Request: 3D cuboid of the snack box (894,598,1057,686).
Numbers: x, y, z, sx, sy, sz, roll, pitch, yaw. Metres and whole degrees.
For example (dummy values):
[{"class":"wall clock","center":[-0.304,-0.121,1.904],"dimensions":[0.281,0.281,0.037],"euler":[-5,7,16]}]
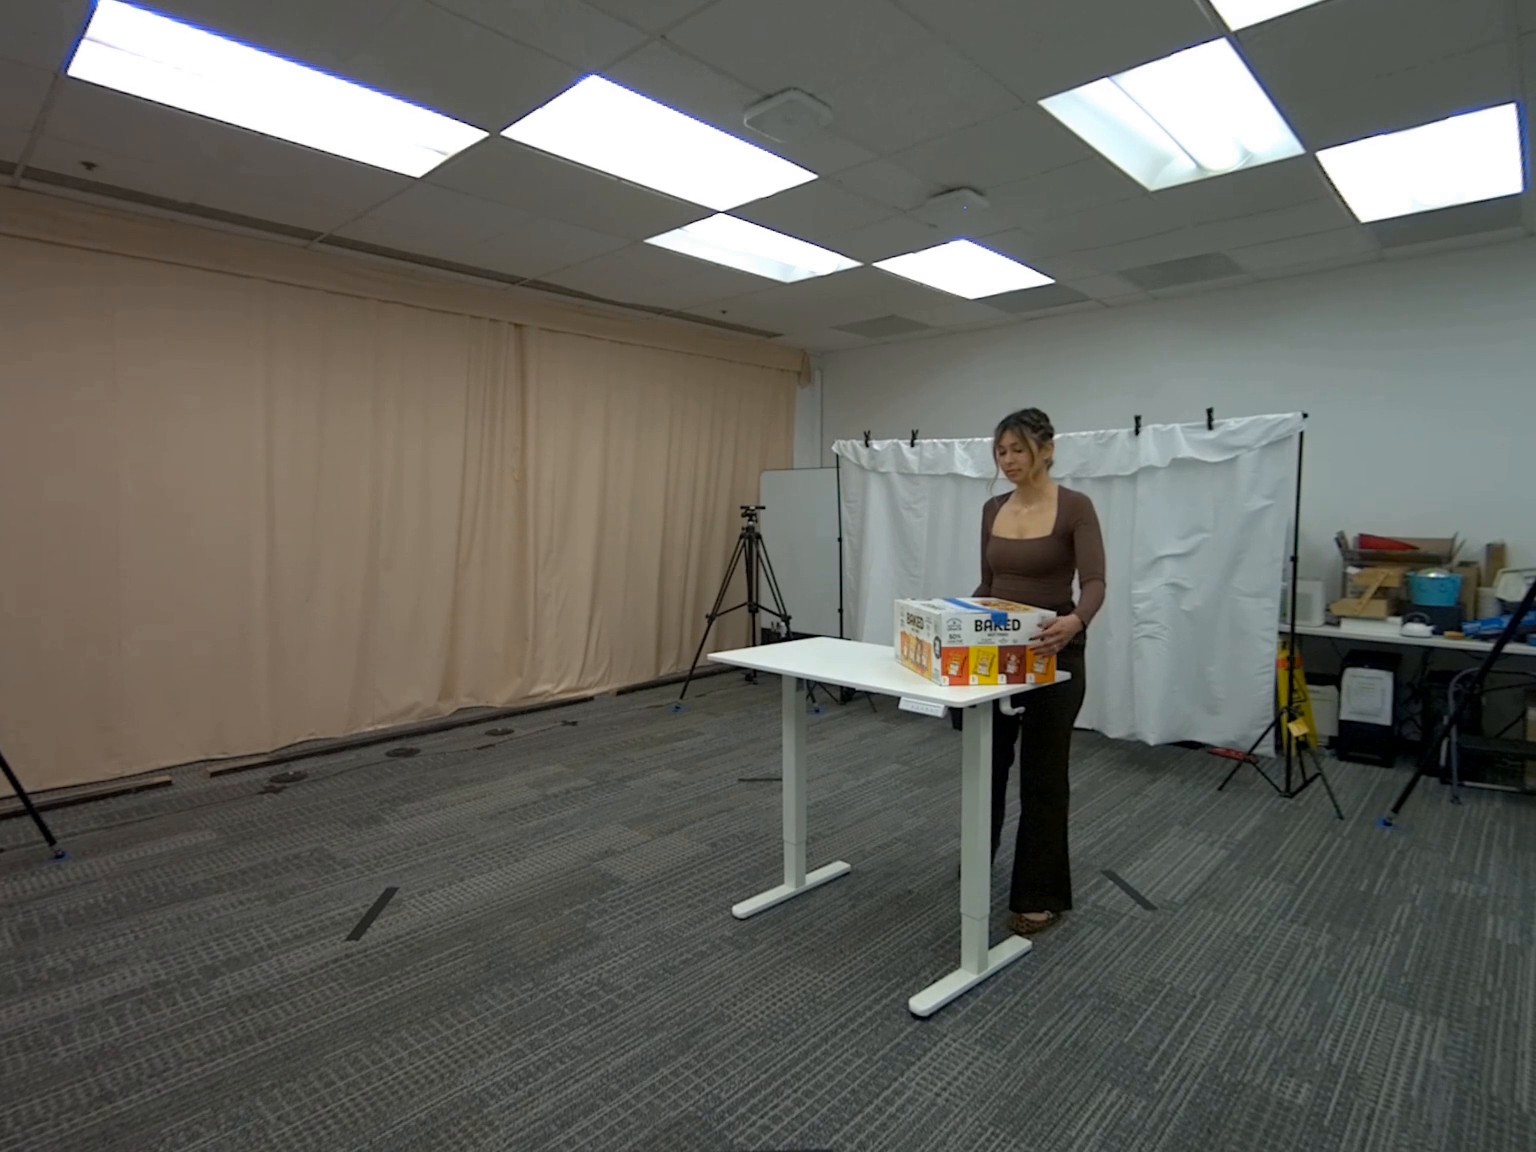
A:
[{"class":"snack box","center":[0.617,0.194,2.556],"dimensions":[0.338,0.205,0.409],"euler":[0,4,-7]}]
